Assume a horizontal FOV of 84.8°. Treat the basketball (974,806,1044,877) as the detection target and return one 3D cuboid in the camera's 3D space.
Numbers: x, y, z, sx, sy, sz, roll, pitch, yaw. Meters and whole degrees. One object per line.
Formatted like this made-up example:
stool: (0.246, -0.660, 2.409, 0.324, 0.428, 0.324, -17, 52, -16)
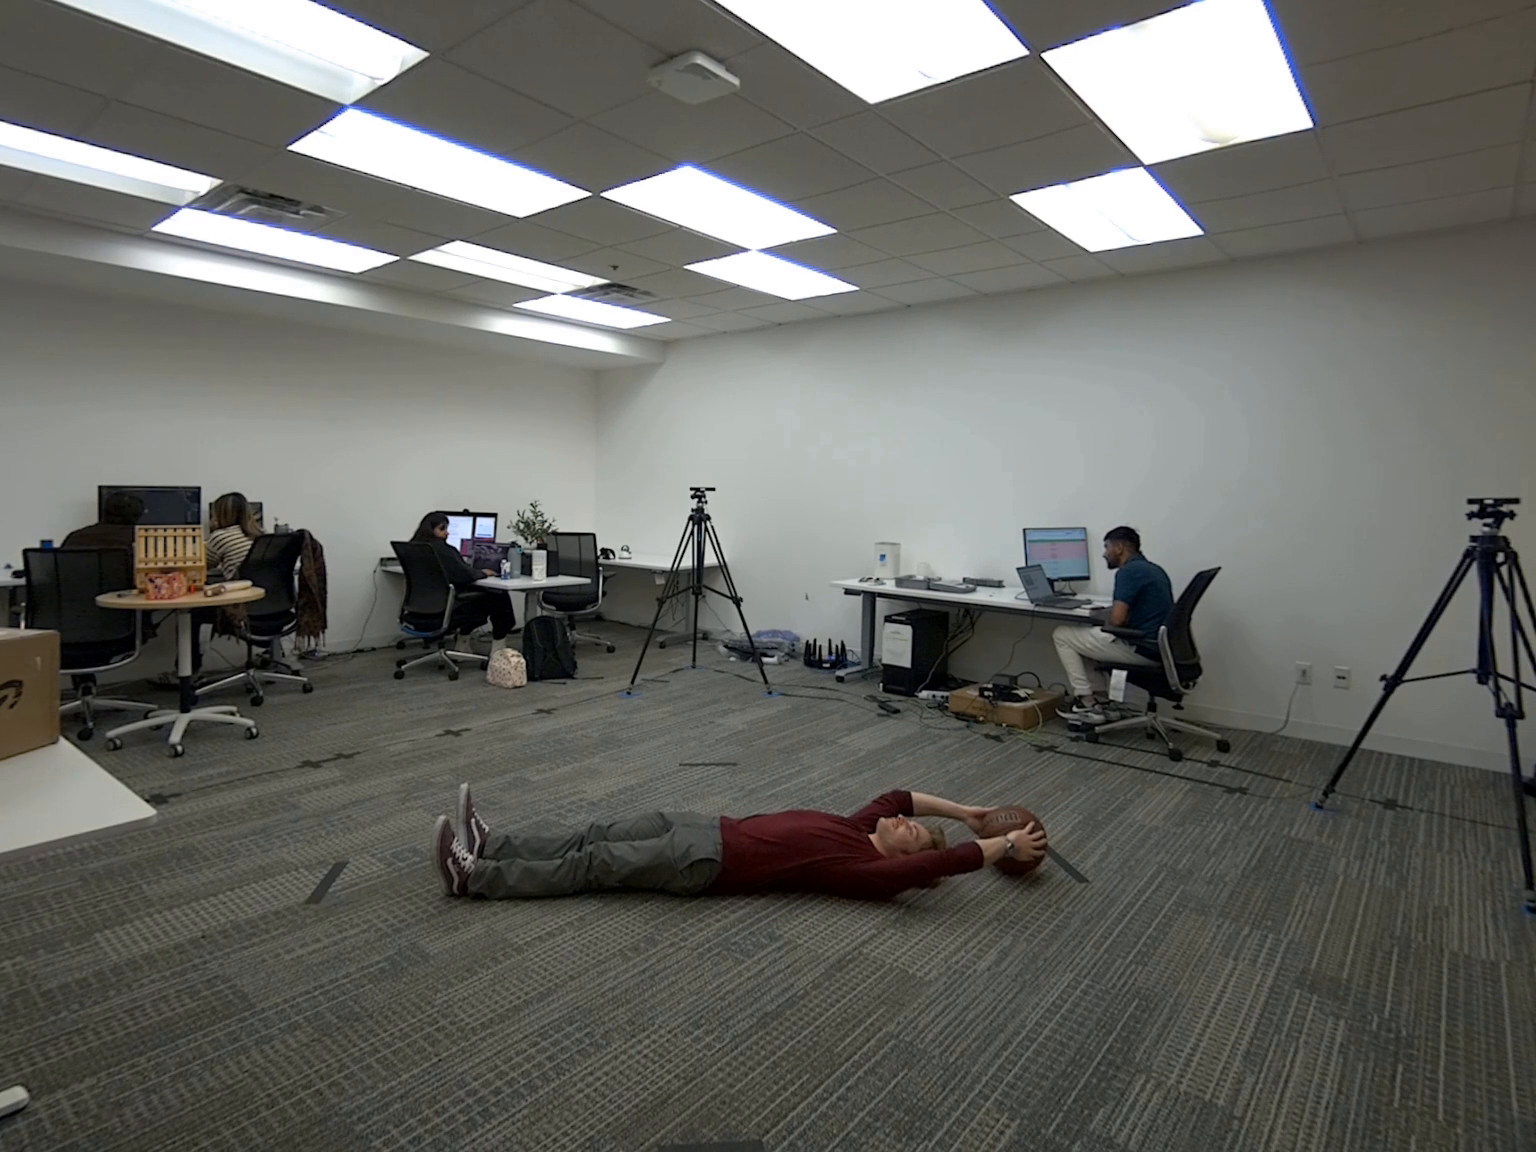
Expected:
basketball: (0.903, 0.968, 3.152, 0.235, 0.235, 0.237, 1, 4, -2)
